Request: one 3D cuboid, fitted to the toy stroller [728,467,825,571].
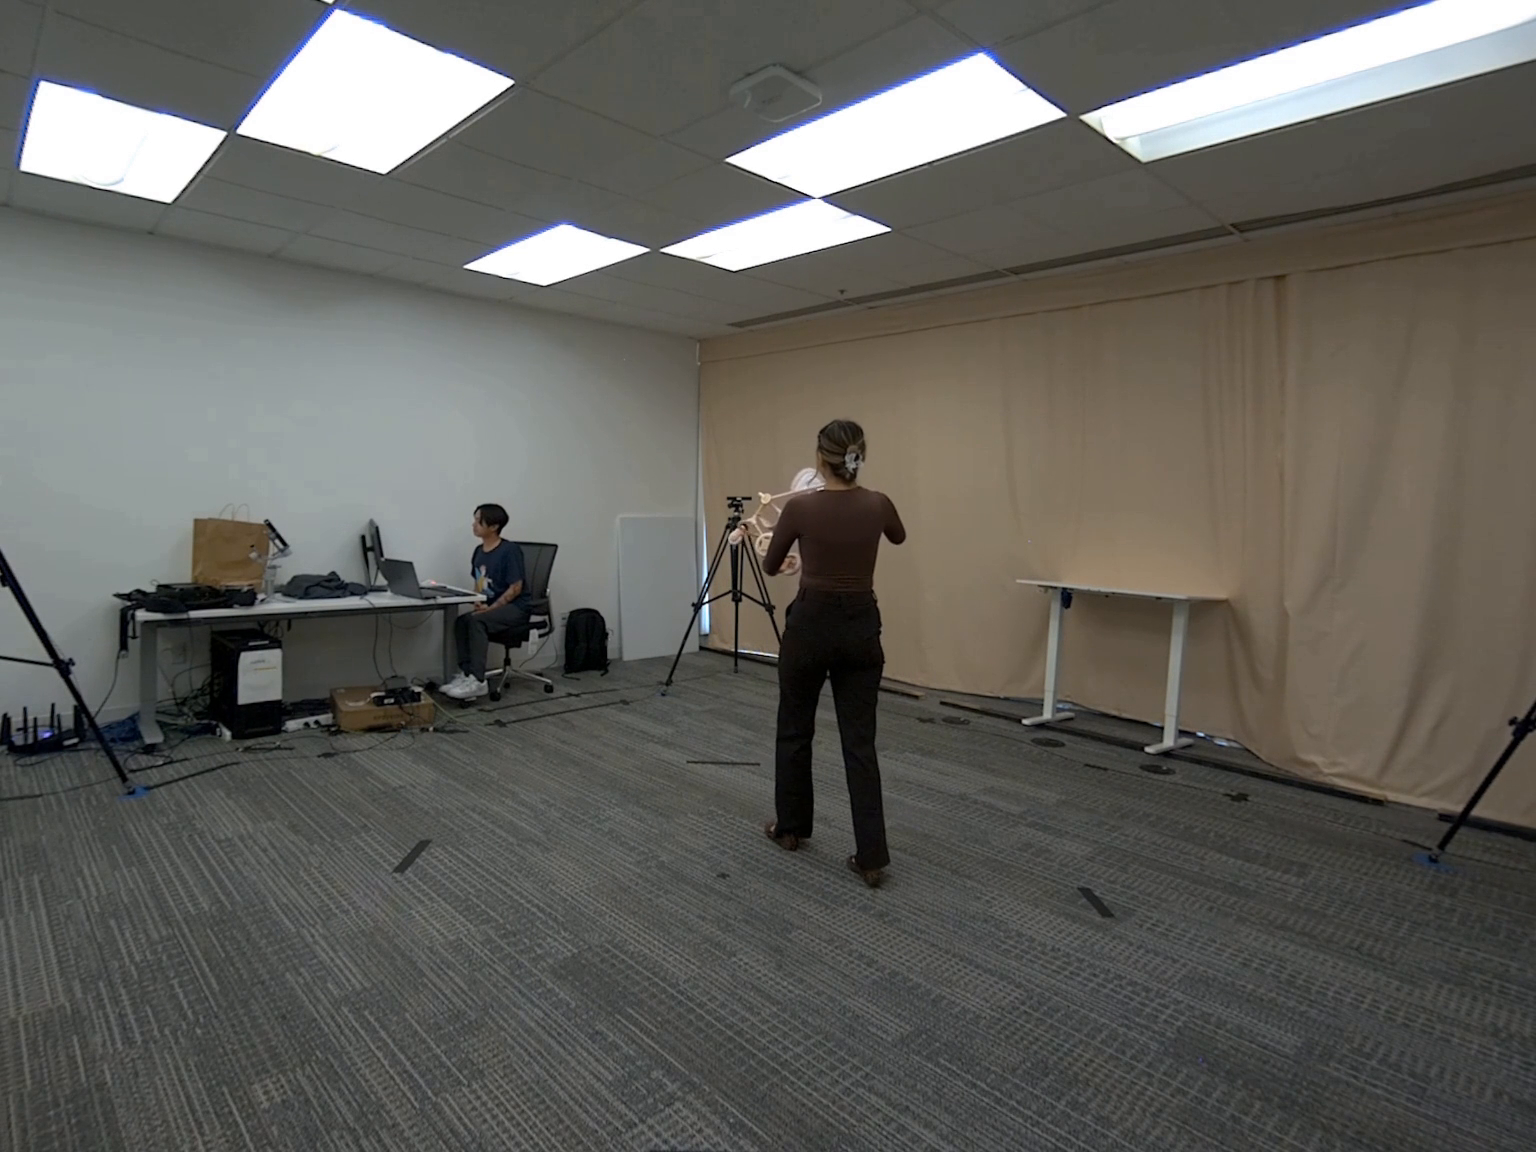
[{"bbox_3d":[0.082,-0.270,3.762,0.352,0.535,0.272,44,6,38],"label":"toy stroller"}]
